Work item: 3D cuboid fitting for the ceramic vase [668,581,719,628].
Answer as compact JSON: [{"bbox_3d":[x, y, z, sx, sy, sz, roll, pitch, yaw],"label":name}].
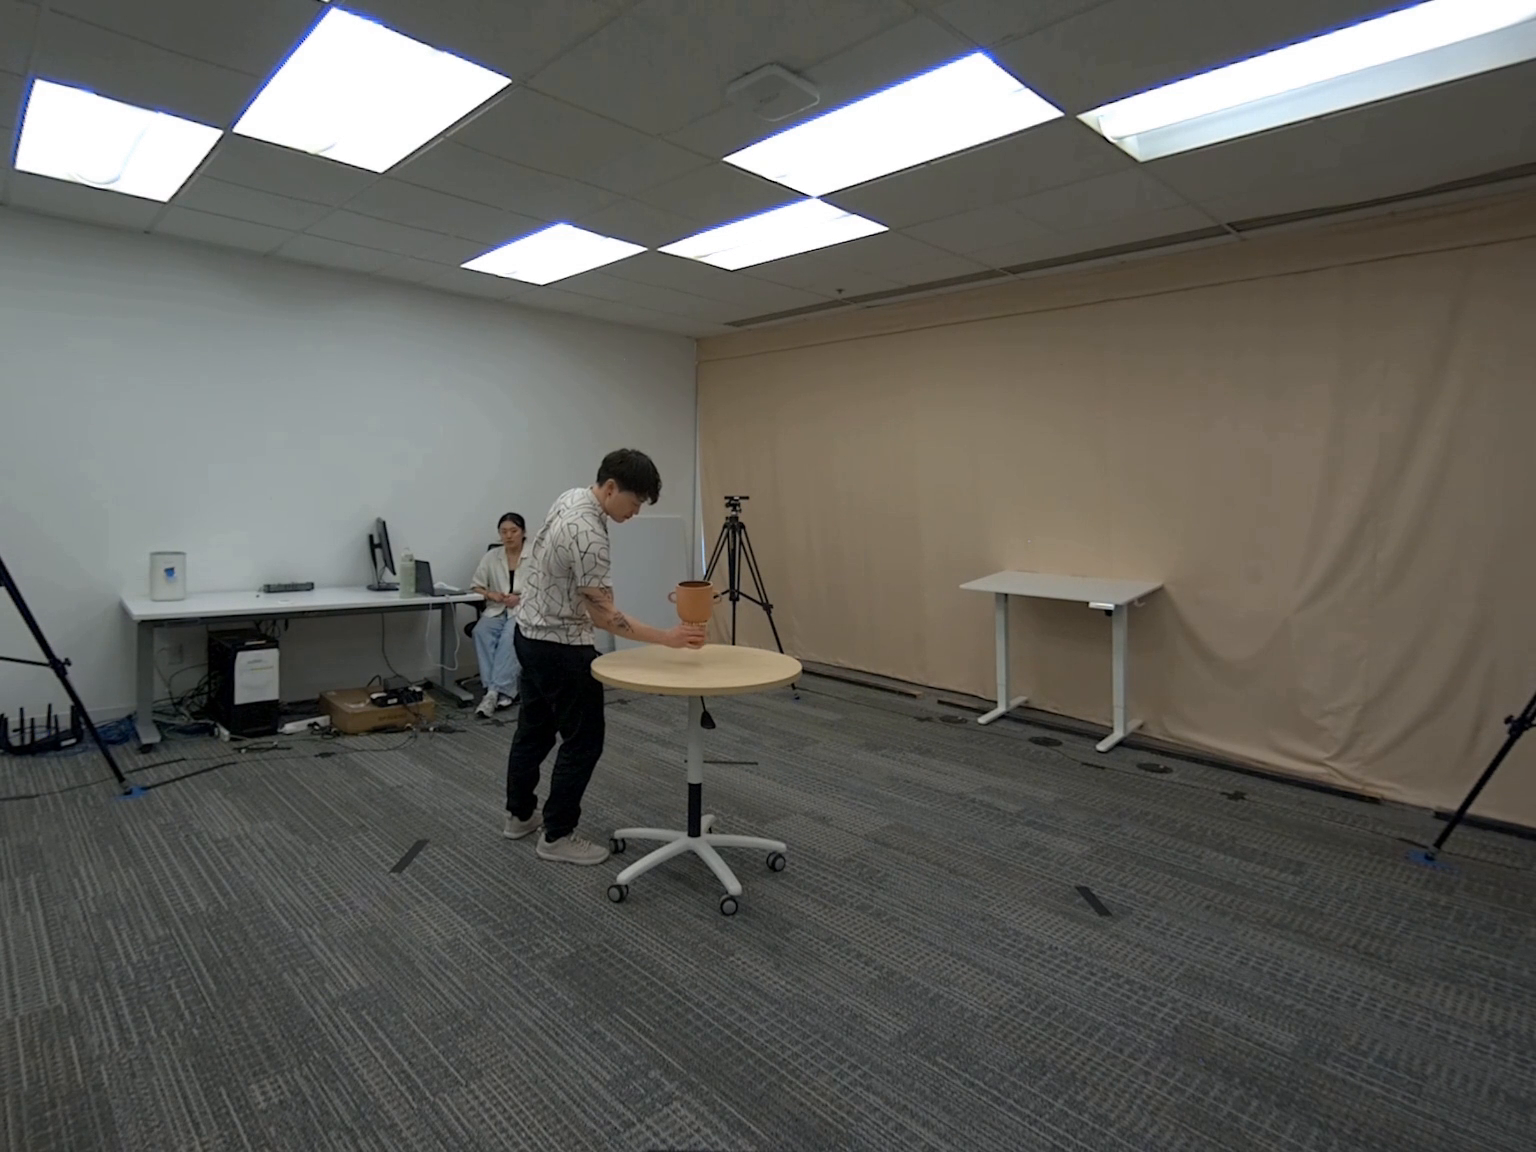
[{"bbox_3d":[-0.273,0.135,3.039,0.163,0.218,0.132,9,13,40],"label":"ceramic vase"}]
